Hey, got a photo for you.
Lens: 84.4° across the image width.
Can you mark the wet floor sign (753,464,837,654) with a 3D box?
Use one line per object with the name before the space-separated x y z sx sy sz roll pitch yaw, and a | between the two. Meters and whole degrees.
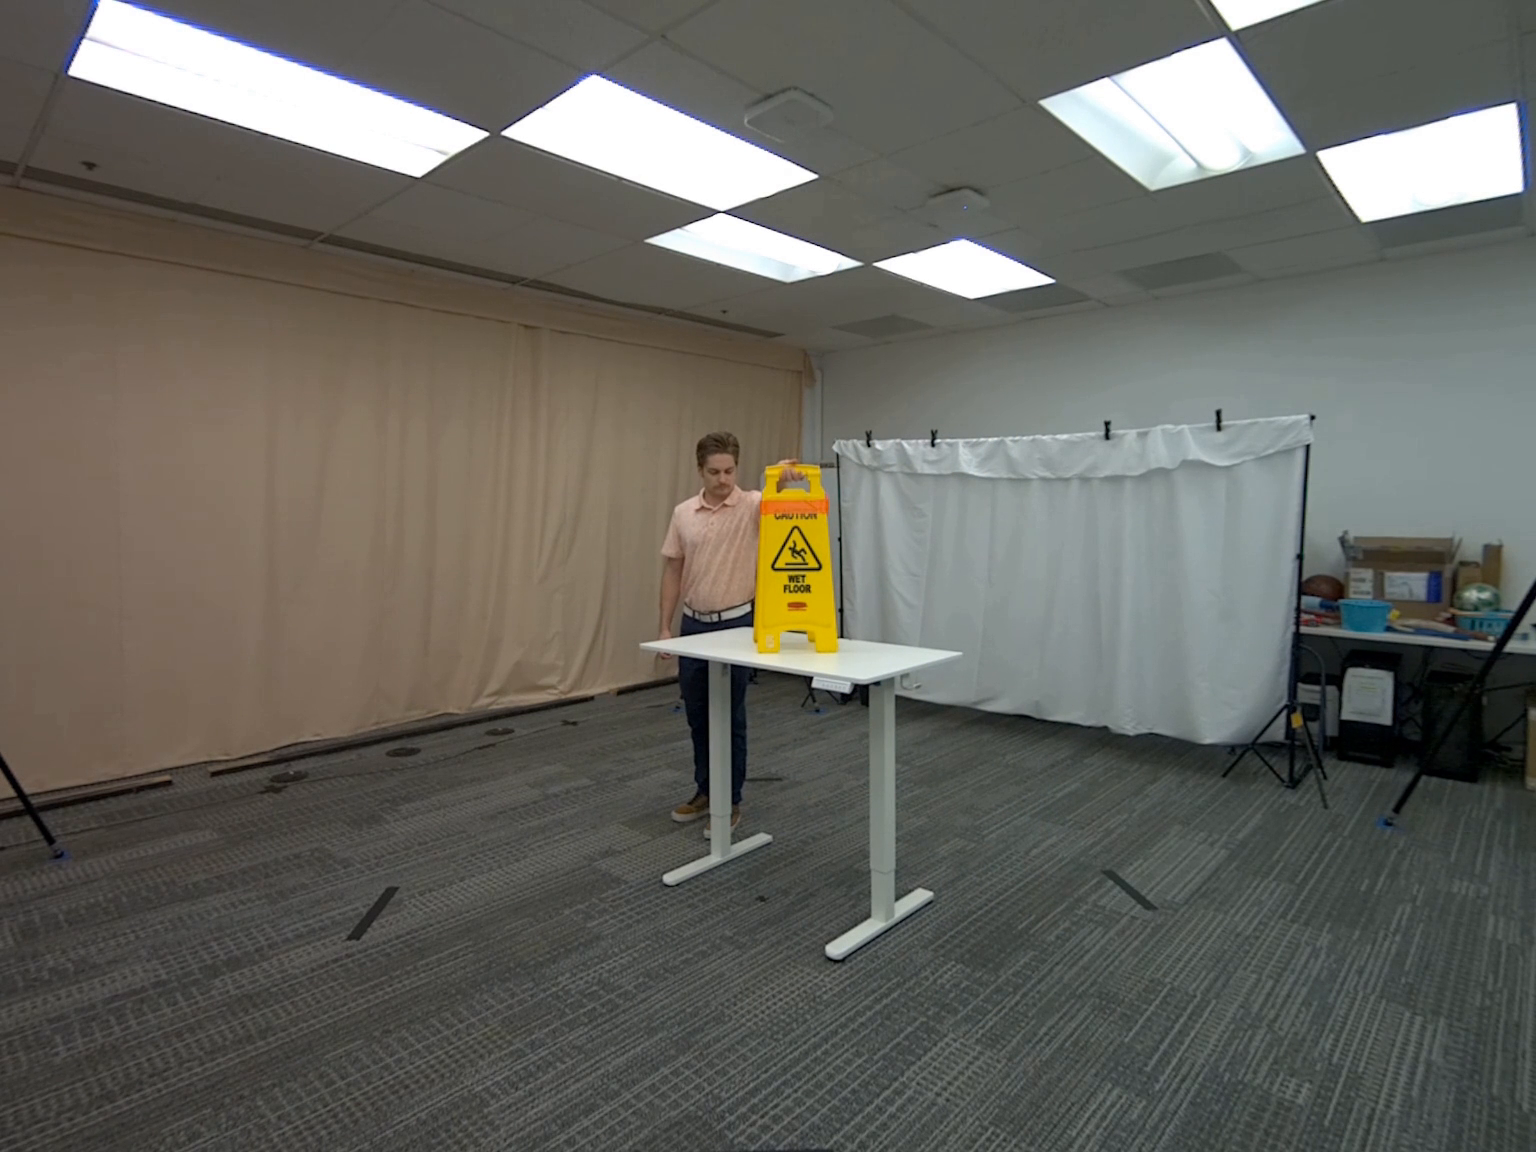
wet floor sign | 0.098 -0.057 3.010 0.282 0.645 0.290 1 3 -1
